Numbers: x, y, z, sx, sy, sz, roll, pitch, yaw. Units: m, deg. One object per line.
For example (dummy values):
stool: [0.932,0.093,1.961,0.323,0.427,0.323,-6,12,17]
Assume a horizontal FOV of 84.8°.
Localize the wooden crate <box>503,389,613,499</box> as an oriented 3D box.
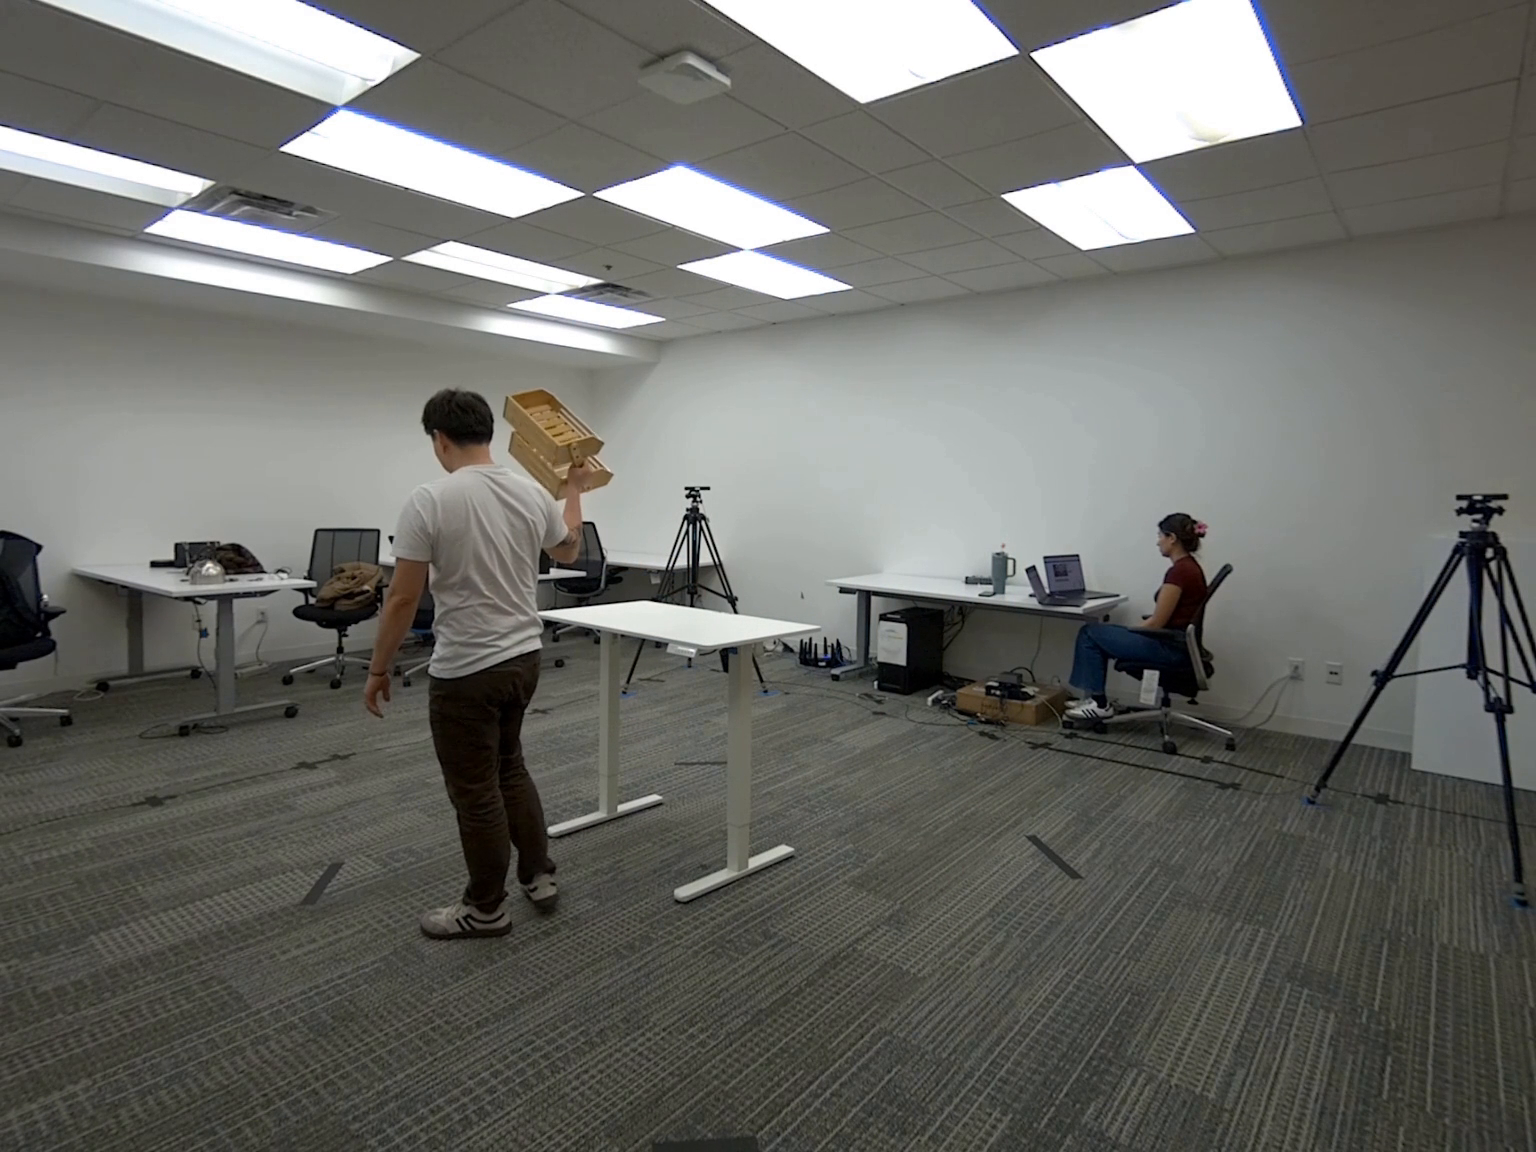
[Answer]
wooden crate: [-0.745,-0.478,3.016,0.335,0.269,0.297,42,43,23]
